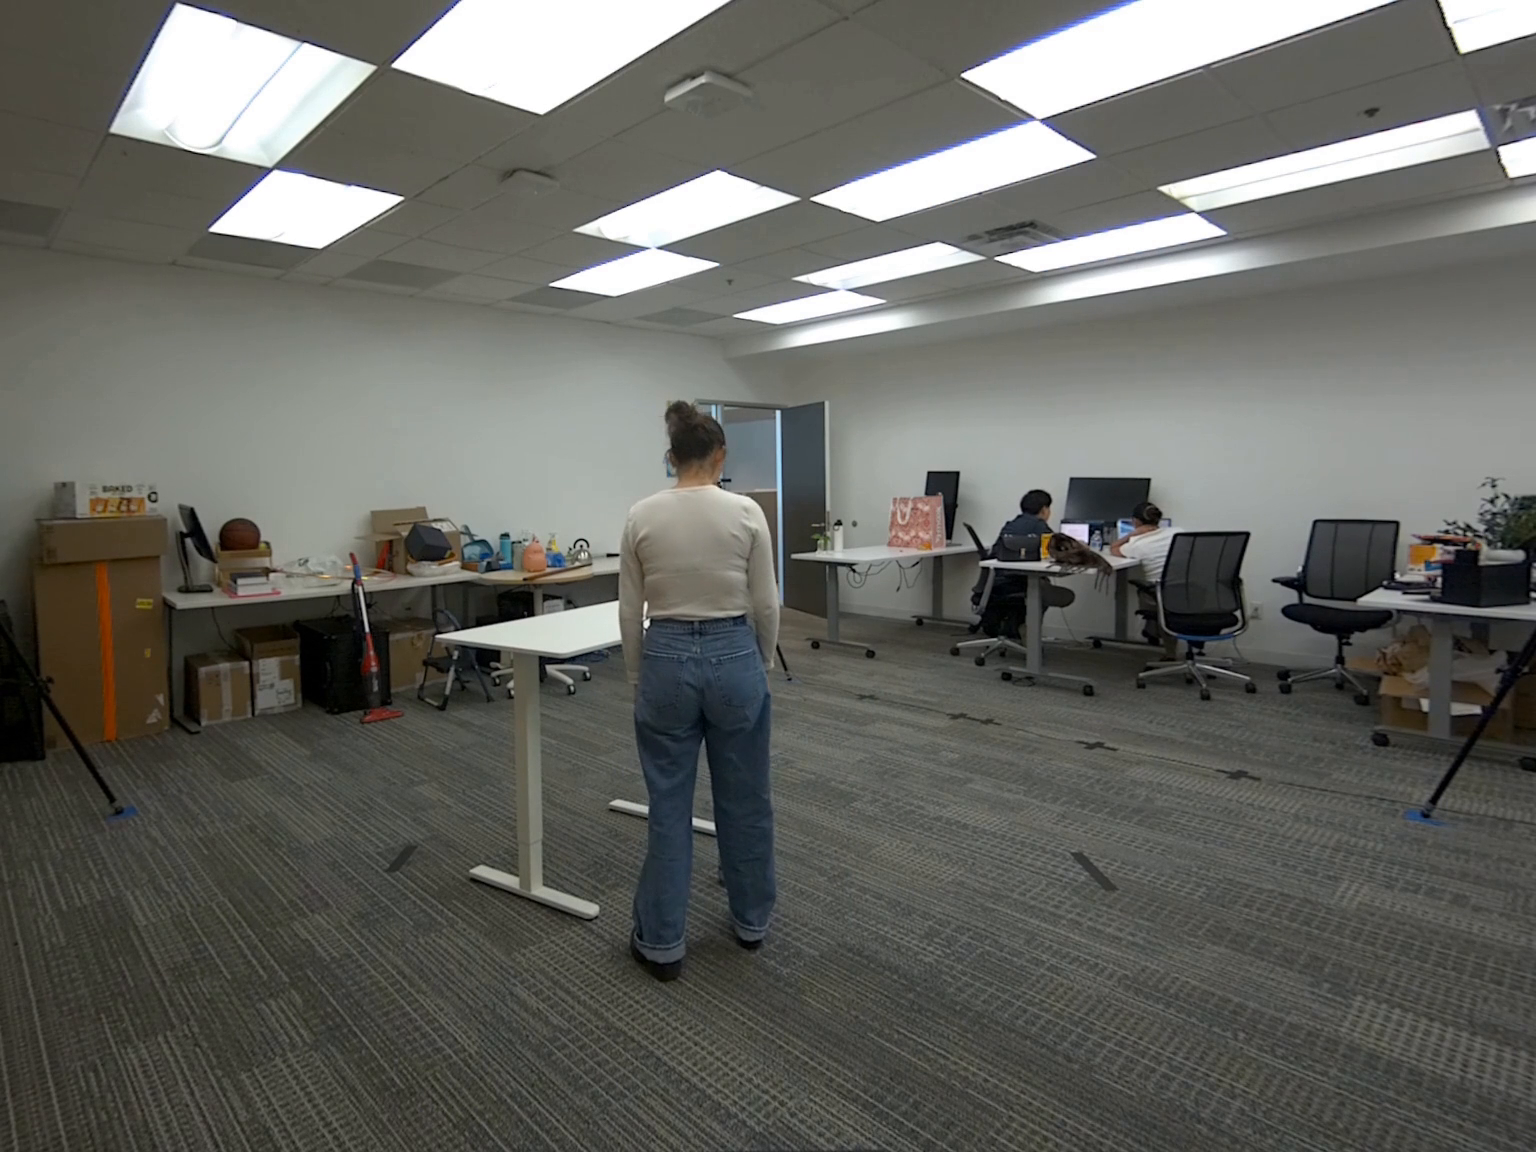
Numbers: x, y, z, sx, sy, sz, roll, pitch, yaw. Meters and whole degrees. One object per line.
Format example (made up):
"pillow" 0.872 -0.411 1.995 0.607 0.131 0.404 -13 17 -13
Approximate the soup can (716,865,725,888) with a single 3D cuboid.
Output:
"soup can" -0.131 1.013 2.959 0.067 0.121 0.067 0 3 -2
